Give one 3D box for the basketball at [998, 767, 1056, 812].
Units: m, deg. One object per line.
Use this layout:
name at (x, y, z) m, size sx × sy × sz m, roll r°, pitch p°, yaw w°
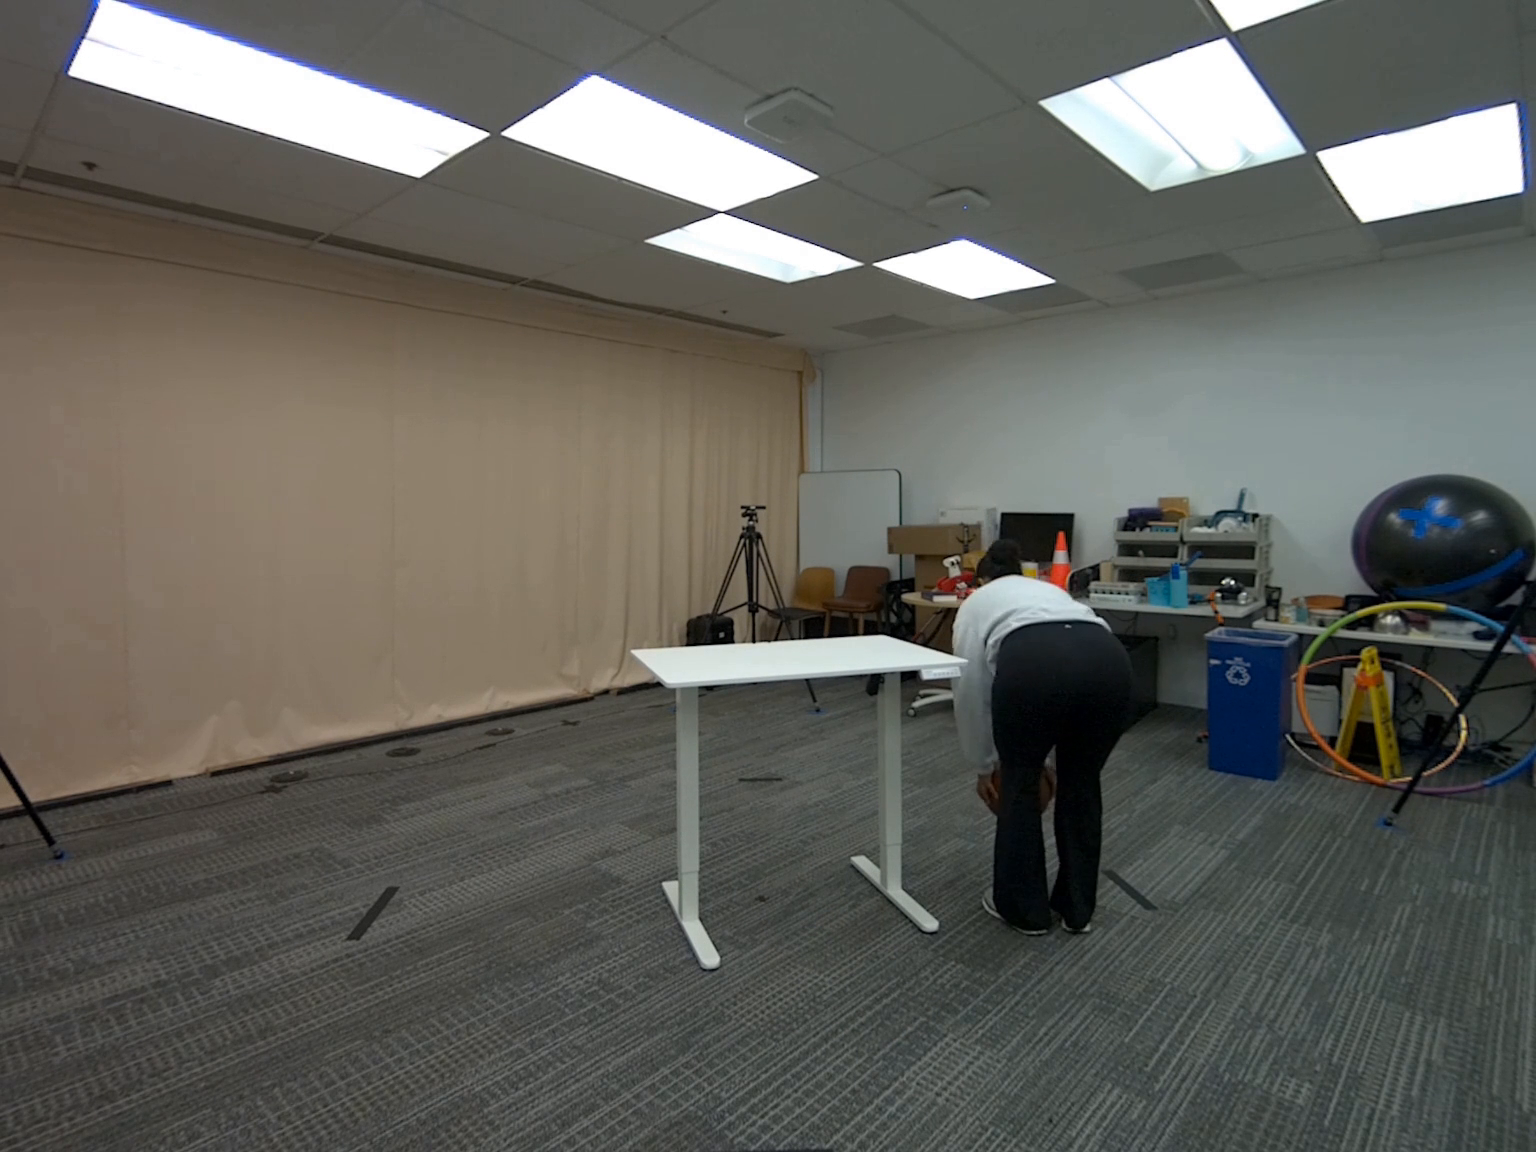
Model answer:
basketball at (0.914, 0.749, 3.060) m, size 0.236 × 0.235 × 0.237 m, roll 0°, pitch 4°, yaw -2°
